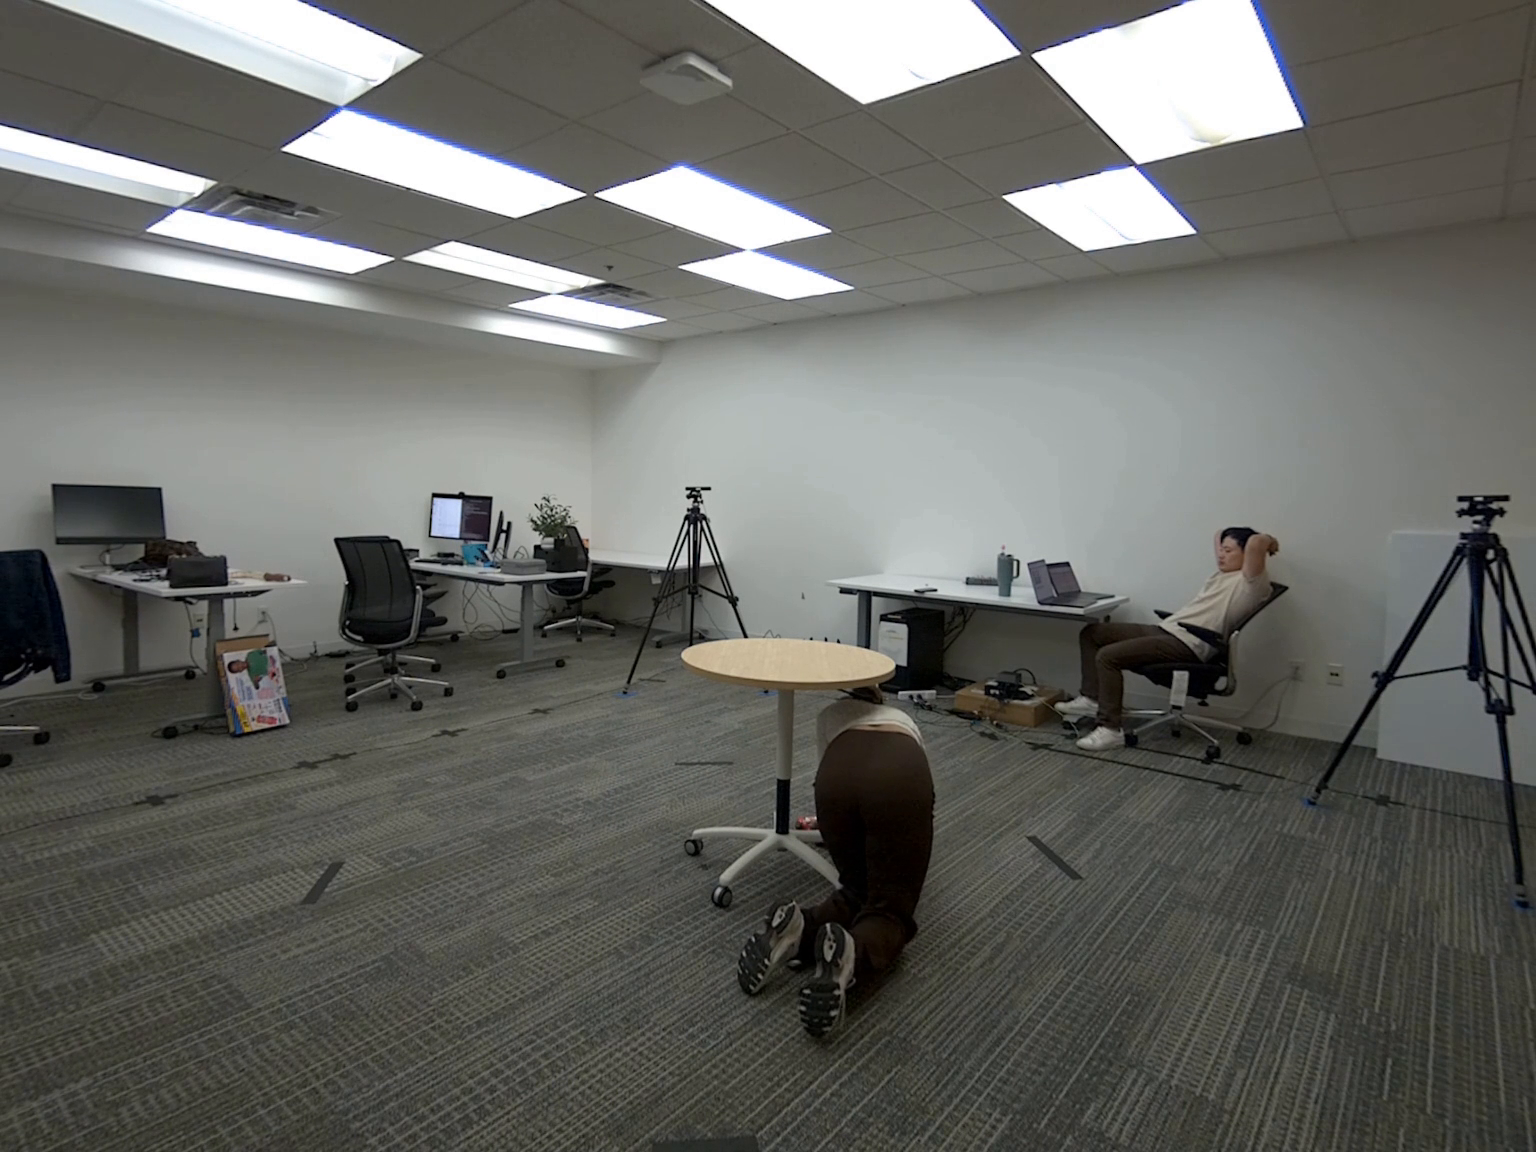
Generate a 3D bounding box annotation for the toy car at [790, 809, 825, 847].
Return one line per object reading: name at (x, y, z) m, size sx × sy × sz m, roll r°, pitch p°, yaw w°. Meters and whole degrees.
toy car at (0.207, 1.009, 3.382) m, size 0.127 × 0.084 × 0.259 m, roll 1°, pitch -5°, yaw -26°
